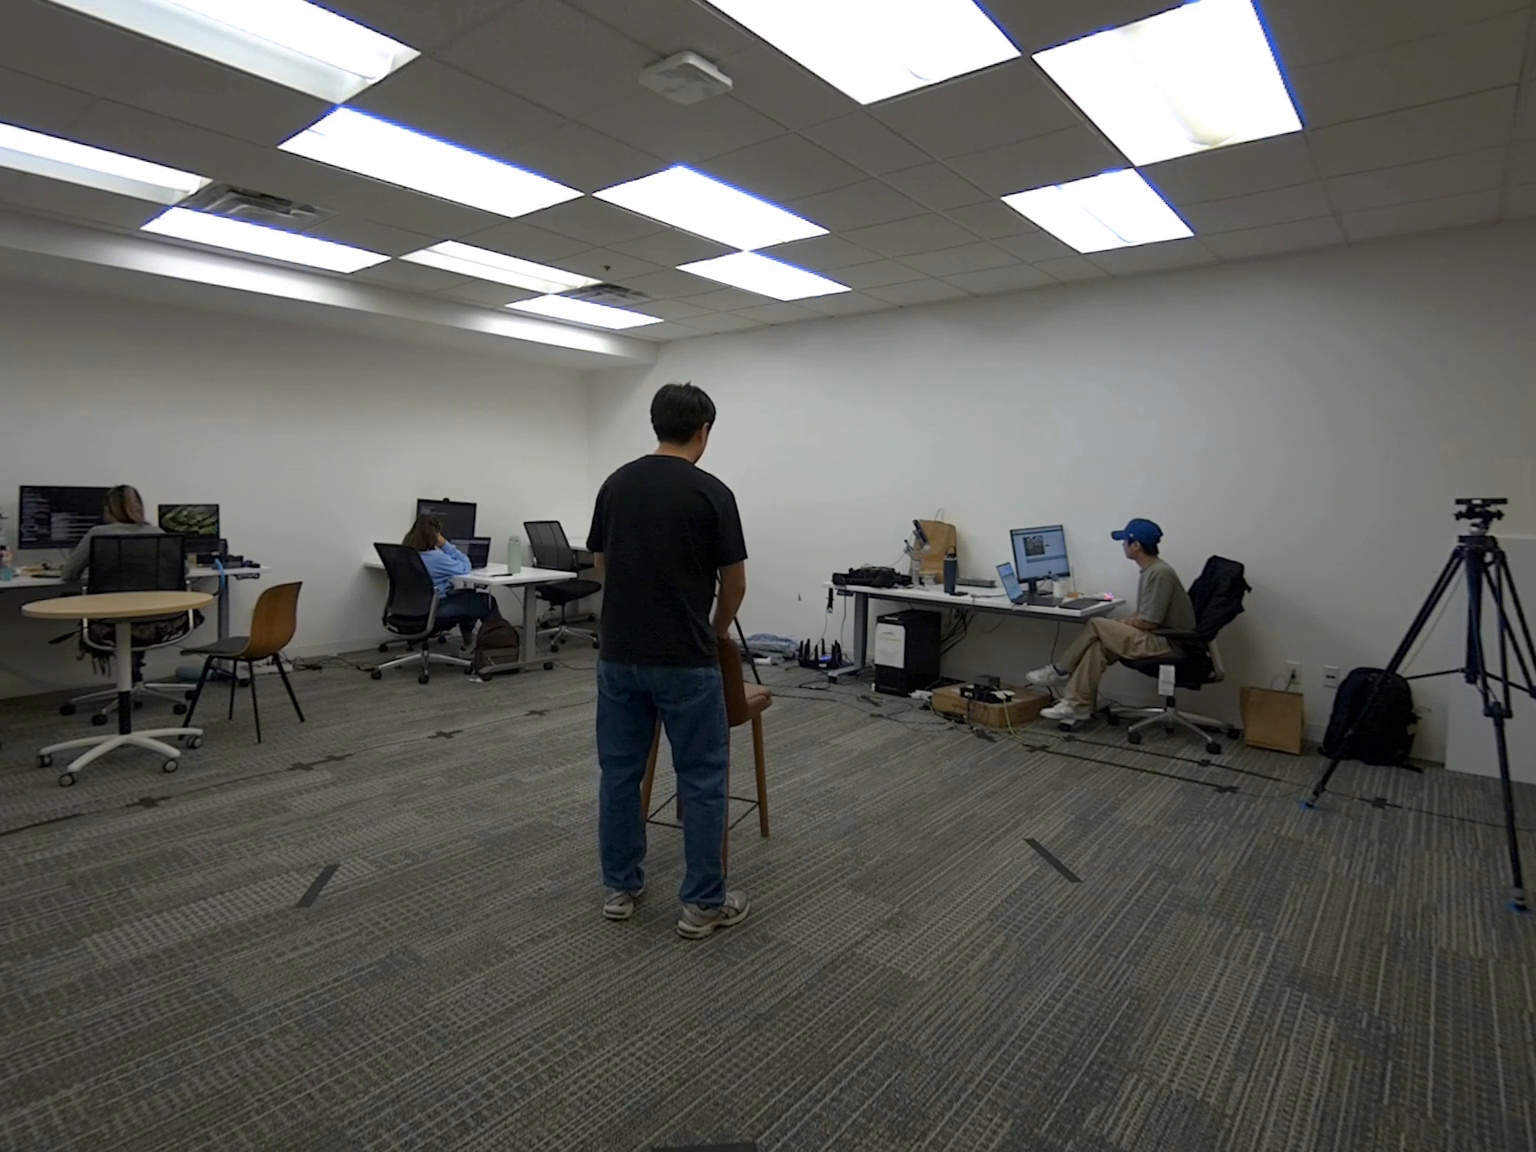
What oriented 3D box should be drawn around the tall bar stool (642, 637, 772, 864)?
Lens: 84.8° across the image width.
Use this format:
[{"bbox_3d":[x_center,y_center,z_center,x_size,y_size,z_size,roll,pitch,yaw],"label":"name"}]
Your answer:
[{"bbox_3d":[-0.257,0.609,3.275,0.467,0.886,0.459,3,5,22],"label":"tall bar stool"}]
